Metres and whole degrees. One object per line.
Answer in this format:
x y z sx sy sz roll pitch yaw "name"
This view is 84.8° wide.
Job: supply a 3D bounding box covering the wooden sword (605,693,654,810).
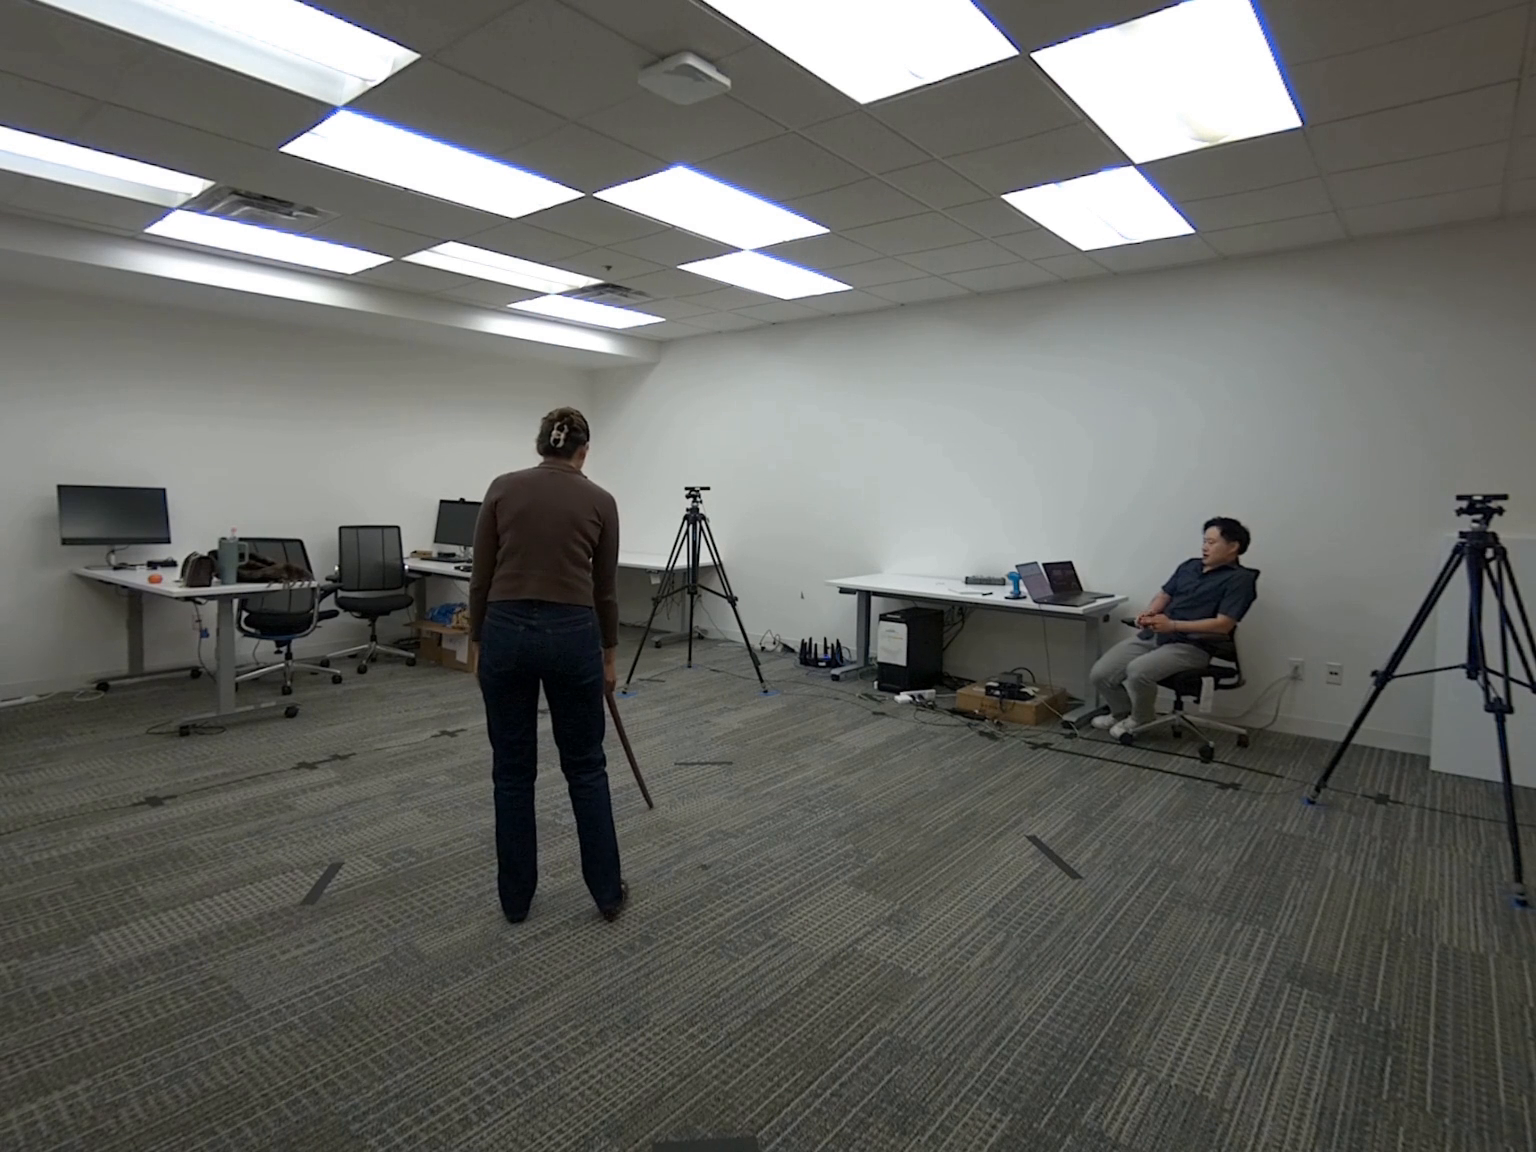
-0.574 0.678 3.340 0.053 0.991 0.024 25 56 26 "wooden sword"
